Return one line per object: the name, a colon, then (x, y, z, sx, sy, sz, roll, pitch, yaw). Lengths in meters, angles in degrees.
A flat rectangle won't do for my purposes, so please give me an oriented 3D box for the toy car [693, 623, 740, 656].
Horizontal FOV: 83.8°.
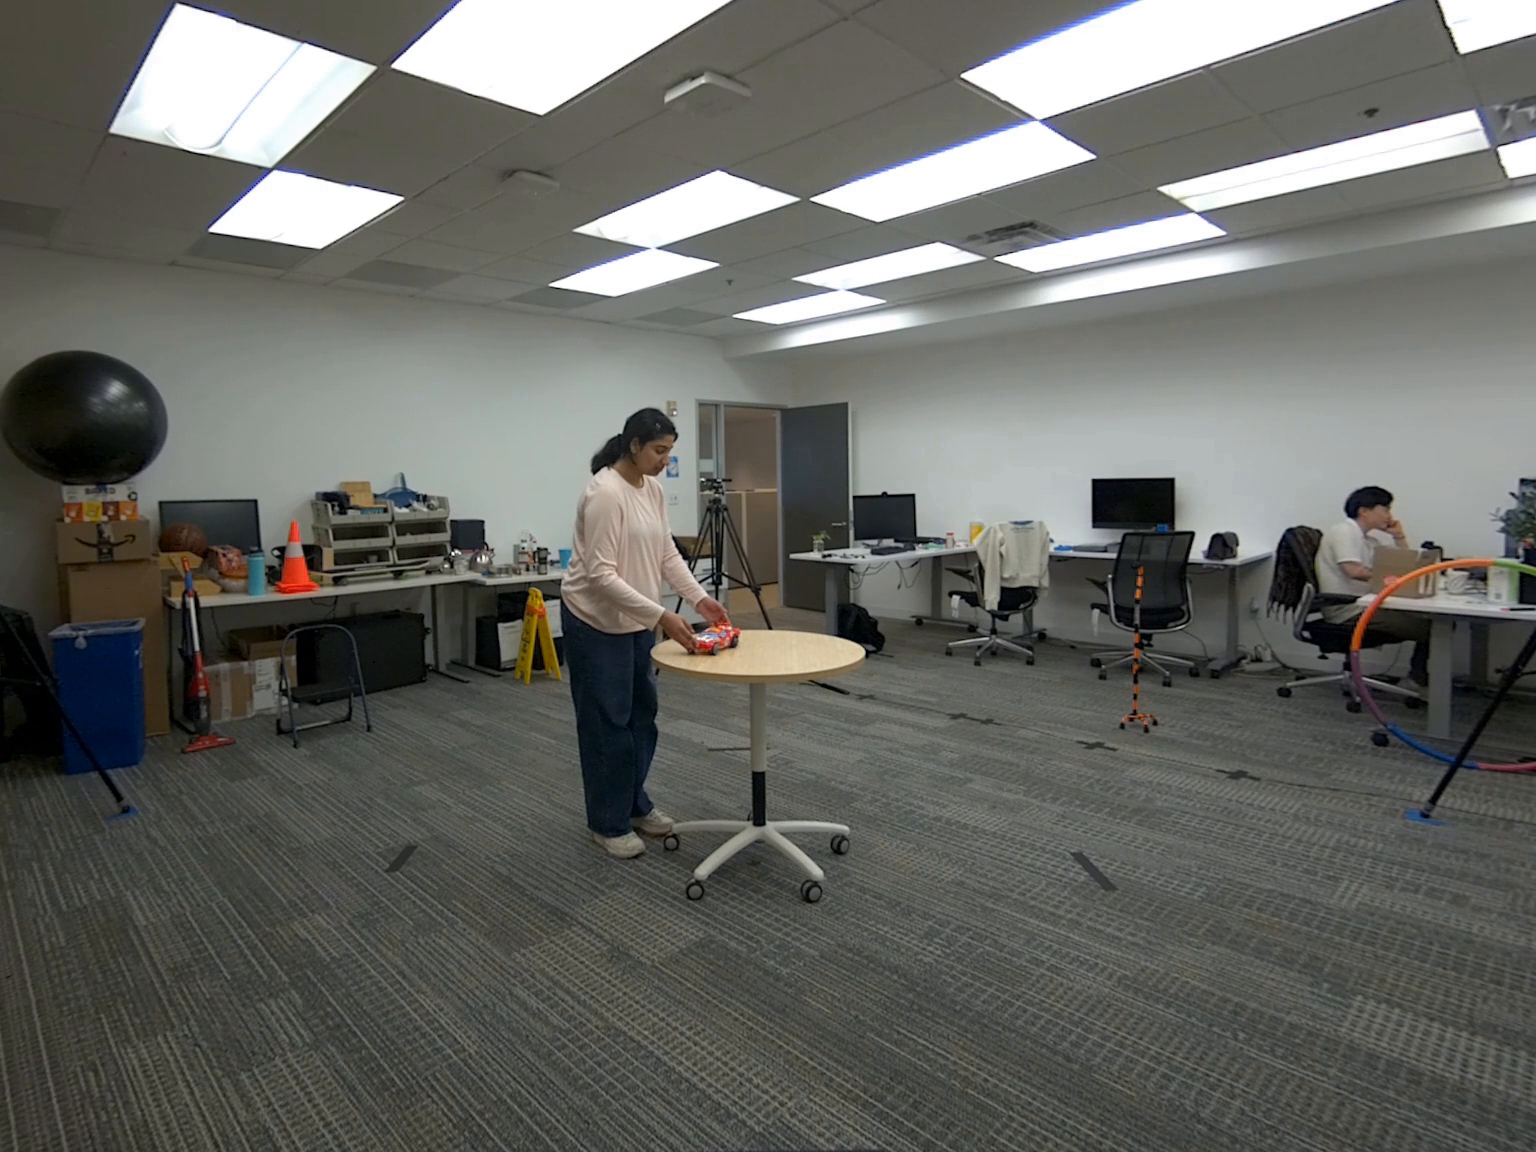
toy car: (-0.188, 0.232, 3.088, 0.133, 0.082, 0.252, 3, 19, 26)
